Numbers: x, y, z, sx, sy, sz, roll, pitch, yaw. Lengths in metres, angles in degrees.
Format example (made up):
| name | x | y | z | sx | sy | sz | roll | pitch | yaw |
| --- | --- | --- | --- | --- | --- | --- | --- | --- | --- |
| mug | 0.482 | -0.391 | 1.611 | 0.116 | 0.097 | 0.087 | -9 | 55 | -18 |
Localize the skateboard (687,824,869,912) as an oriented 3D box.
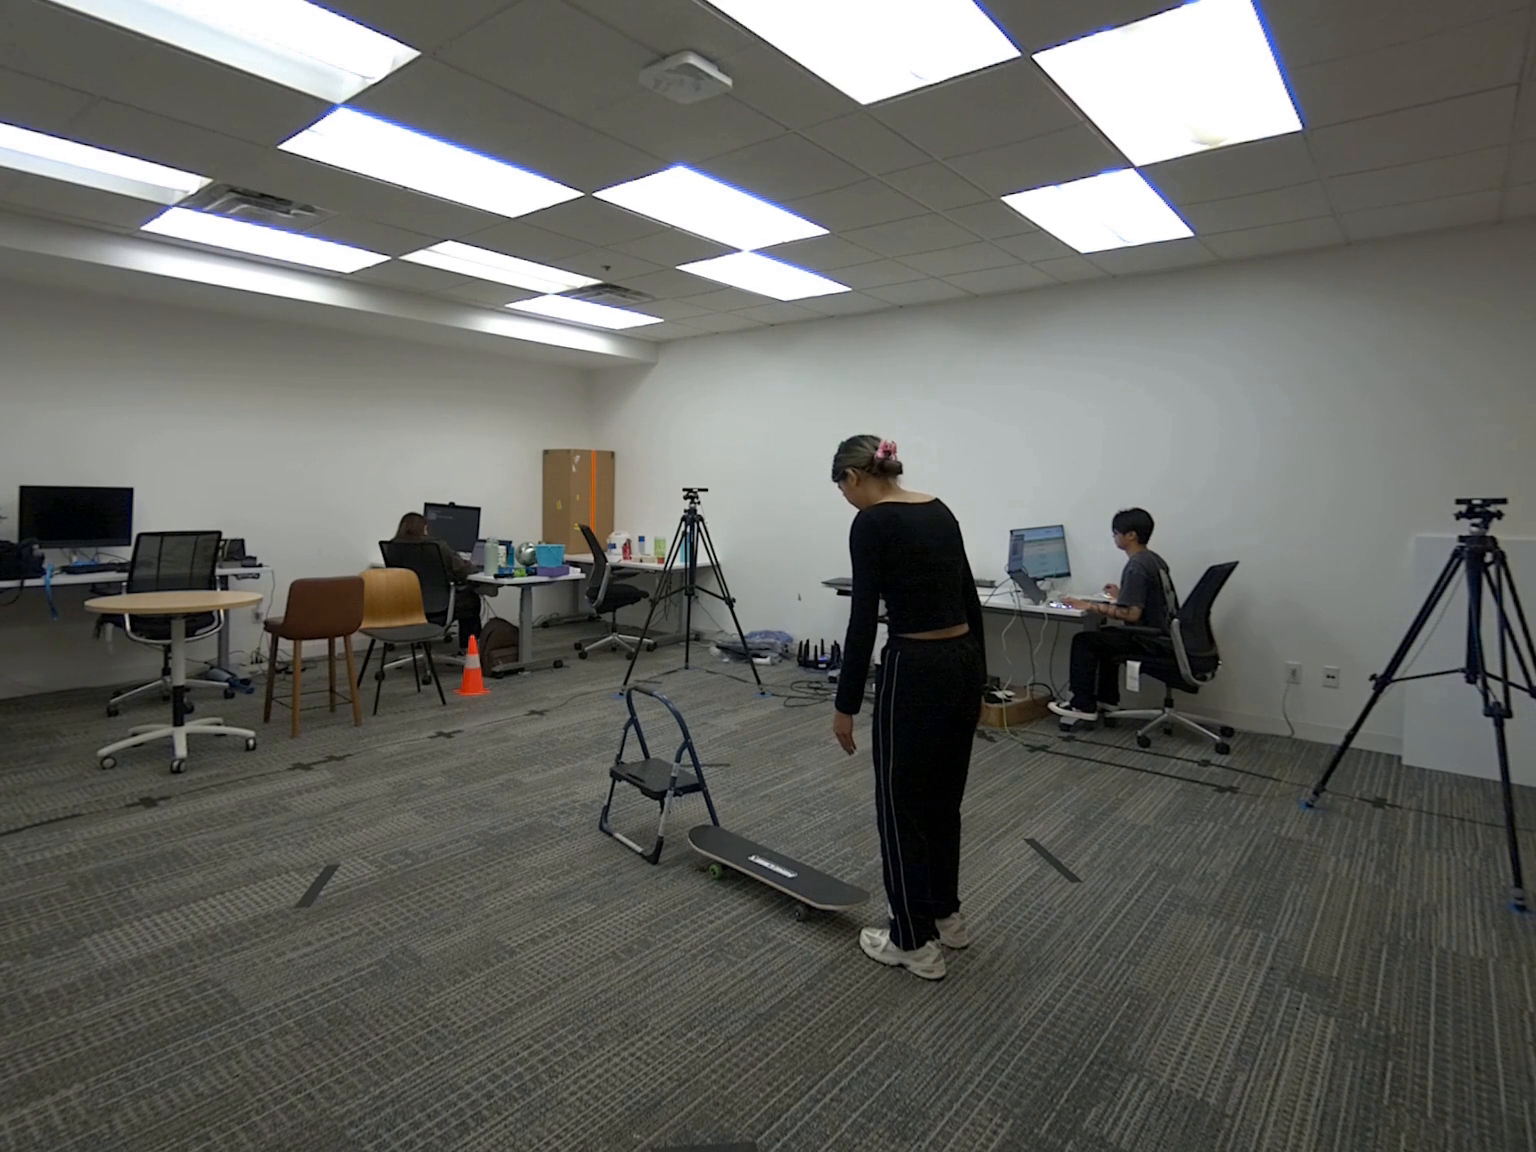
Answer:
| name | x | y | z | sx | sy | sz | roll | pitch | yaw |
| --- | --- | --- | --- | --- | --- | --- | --- | --- | --- |
| skateboard | 0.013 | 1.037 | 2.946 | 0.813 | 0.110 | 0.188 | 6 | 8 | 44 |
